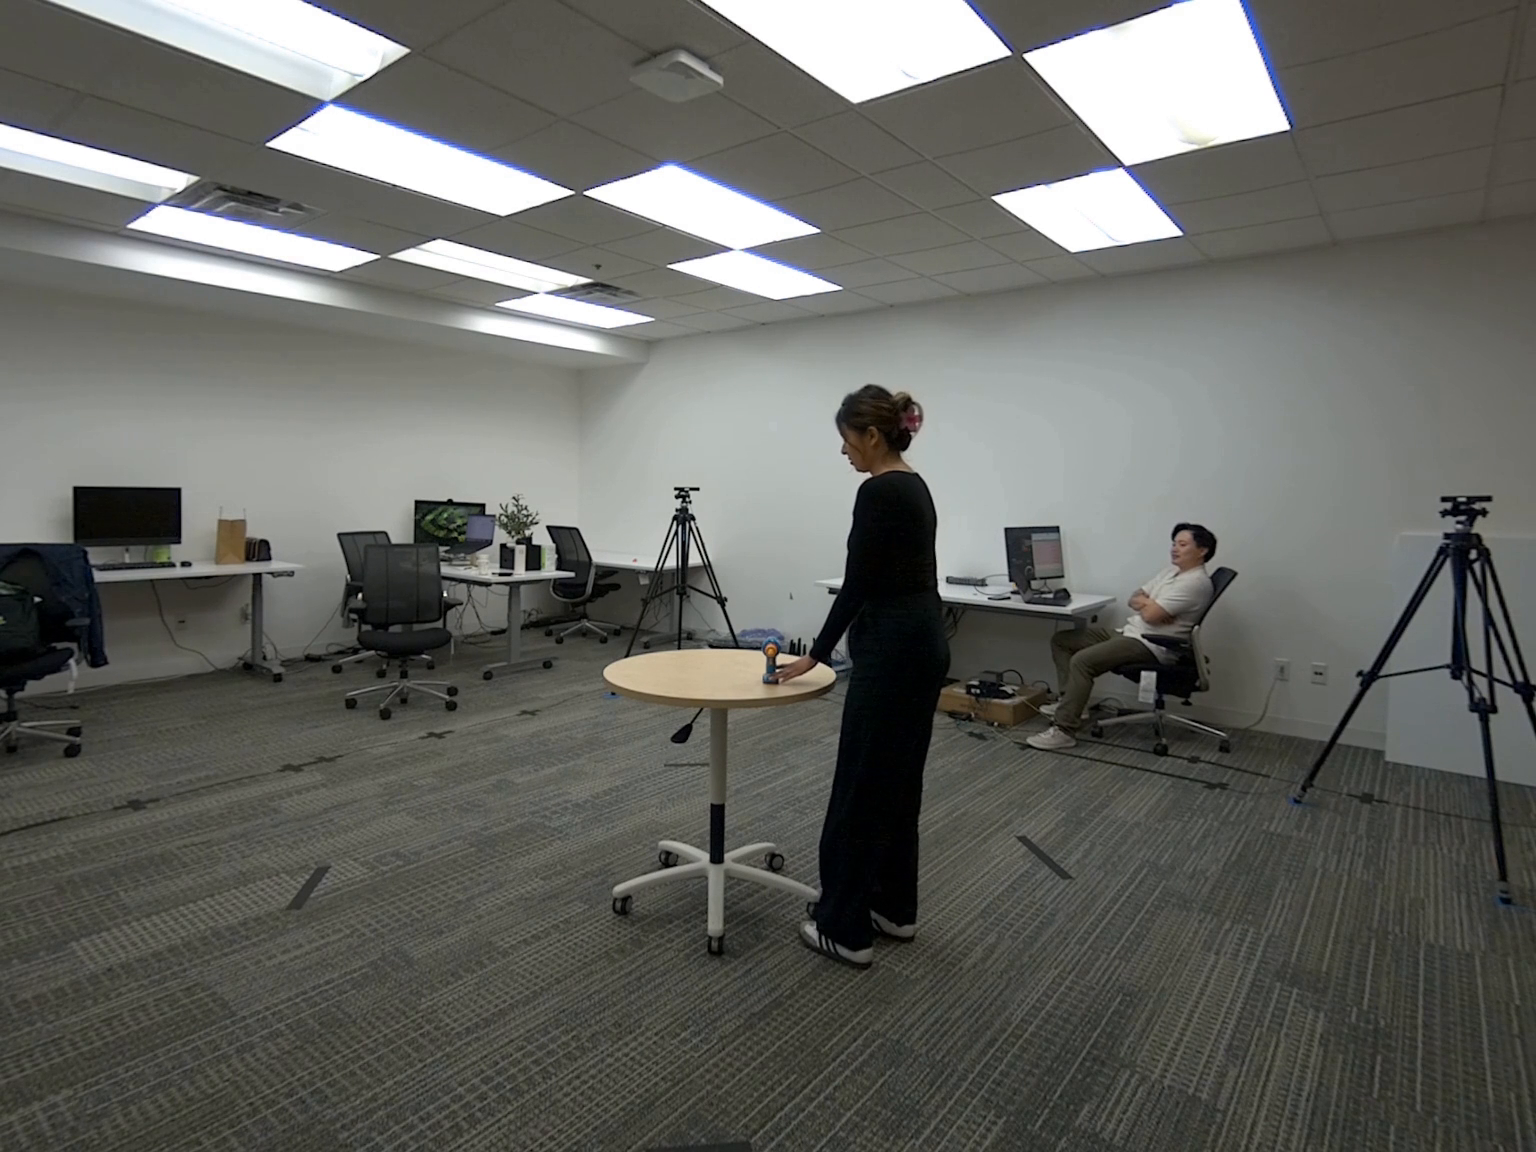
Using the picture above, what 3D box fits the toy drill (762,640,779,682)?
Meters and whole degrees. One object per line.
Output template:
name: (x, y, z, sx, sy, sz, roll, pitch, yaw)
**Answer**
toy drill: (0.003, 0.263, 2.623, 0.061, 0.145, 0.171, 0, 6, -2)
